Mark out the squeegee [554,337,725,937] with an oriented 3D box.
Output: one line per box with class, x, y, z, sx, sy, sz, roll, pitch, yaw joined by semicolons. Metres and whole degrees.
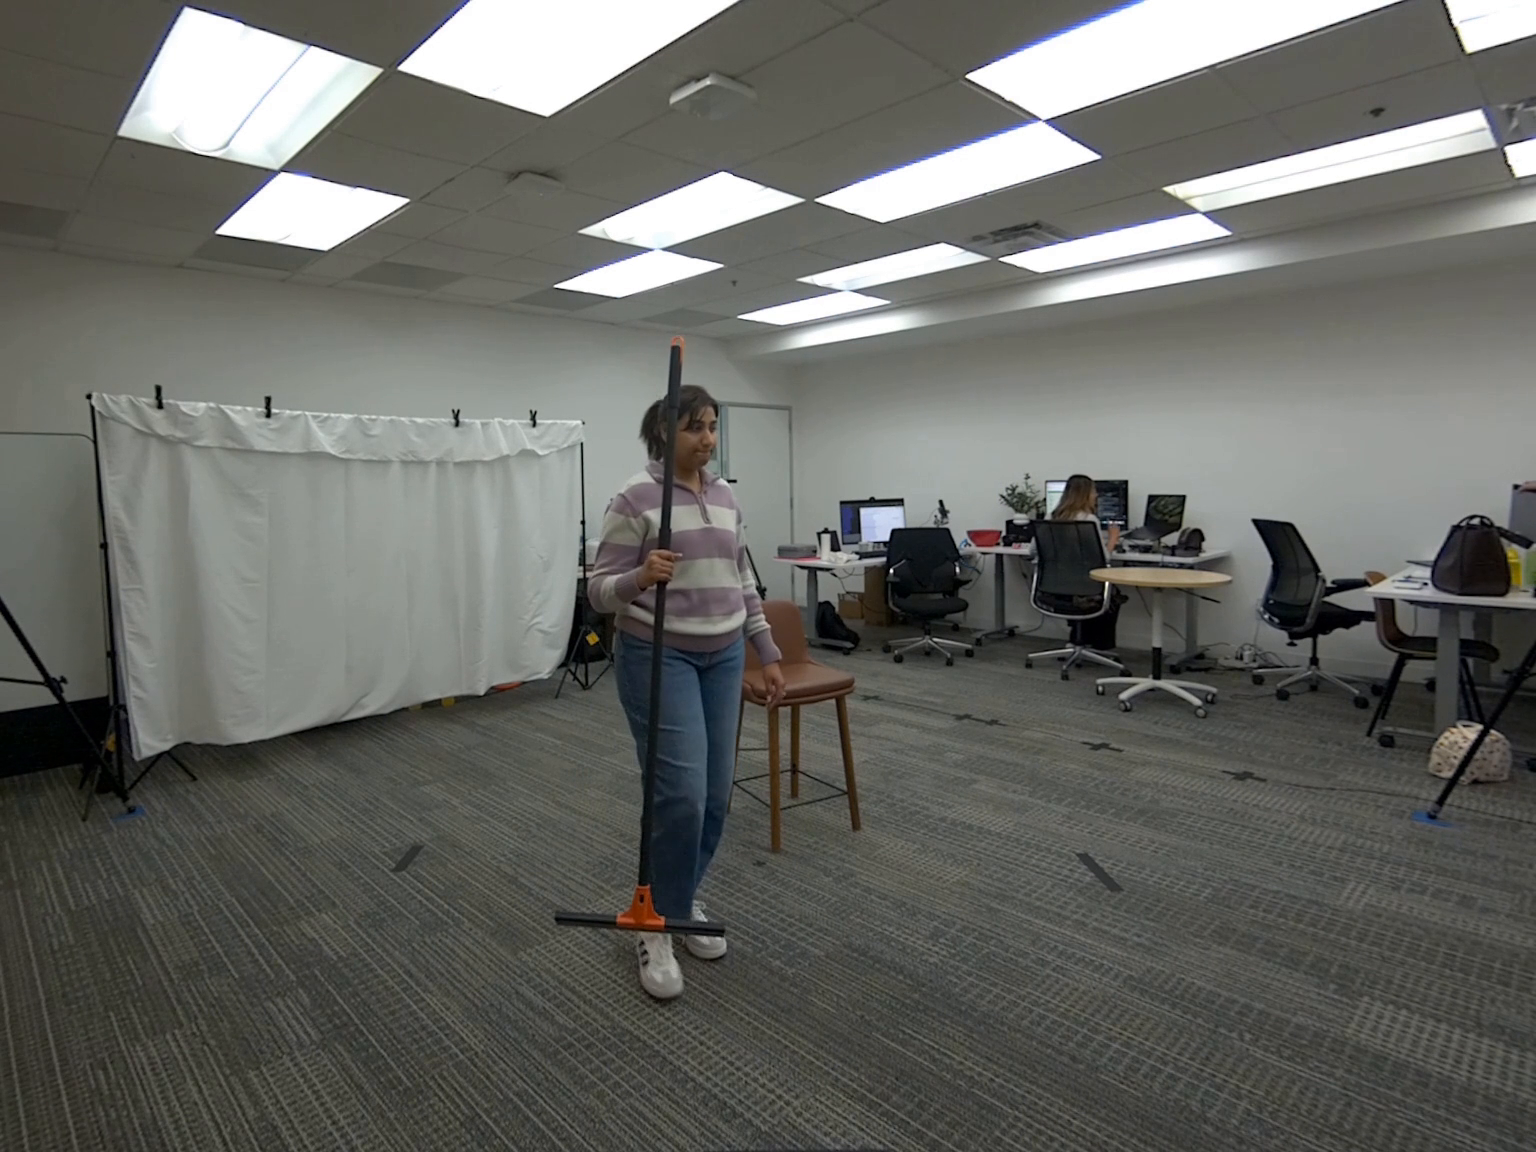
squeegee;-0.285;0.157;2.206;0.440;1.543;0.052;1;-4;5
